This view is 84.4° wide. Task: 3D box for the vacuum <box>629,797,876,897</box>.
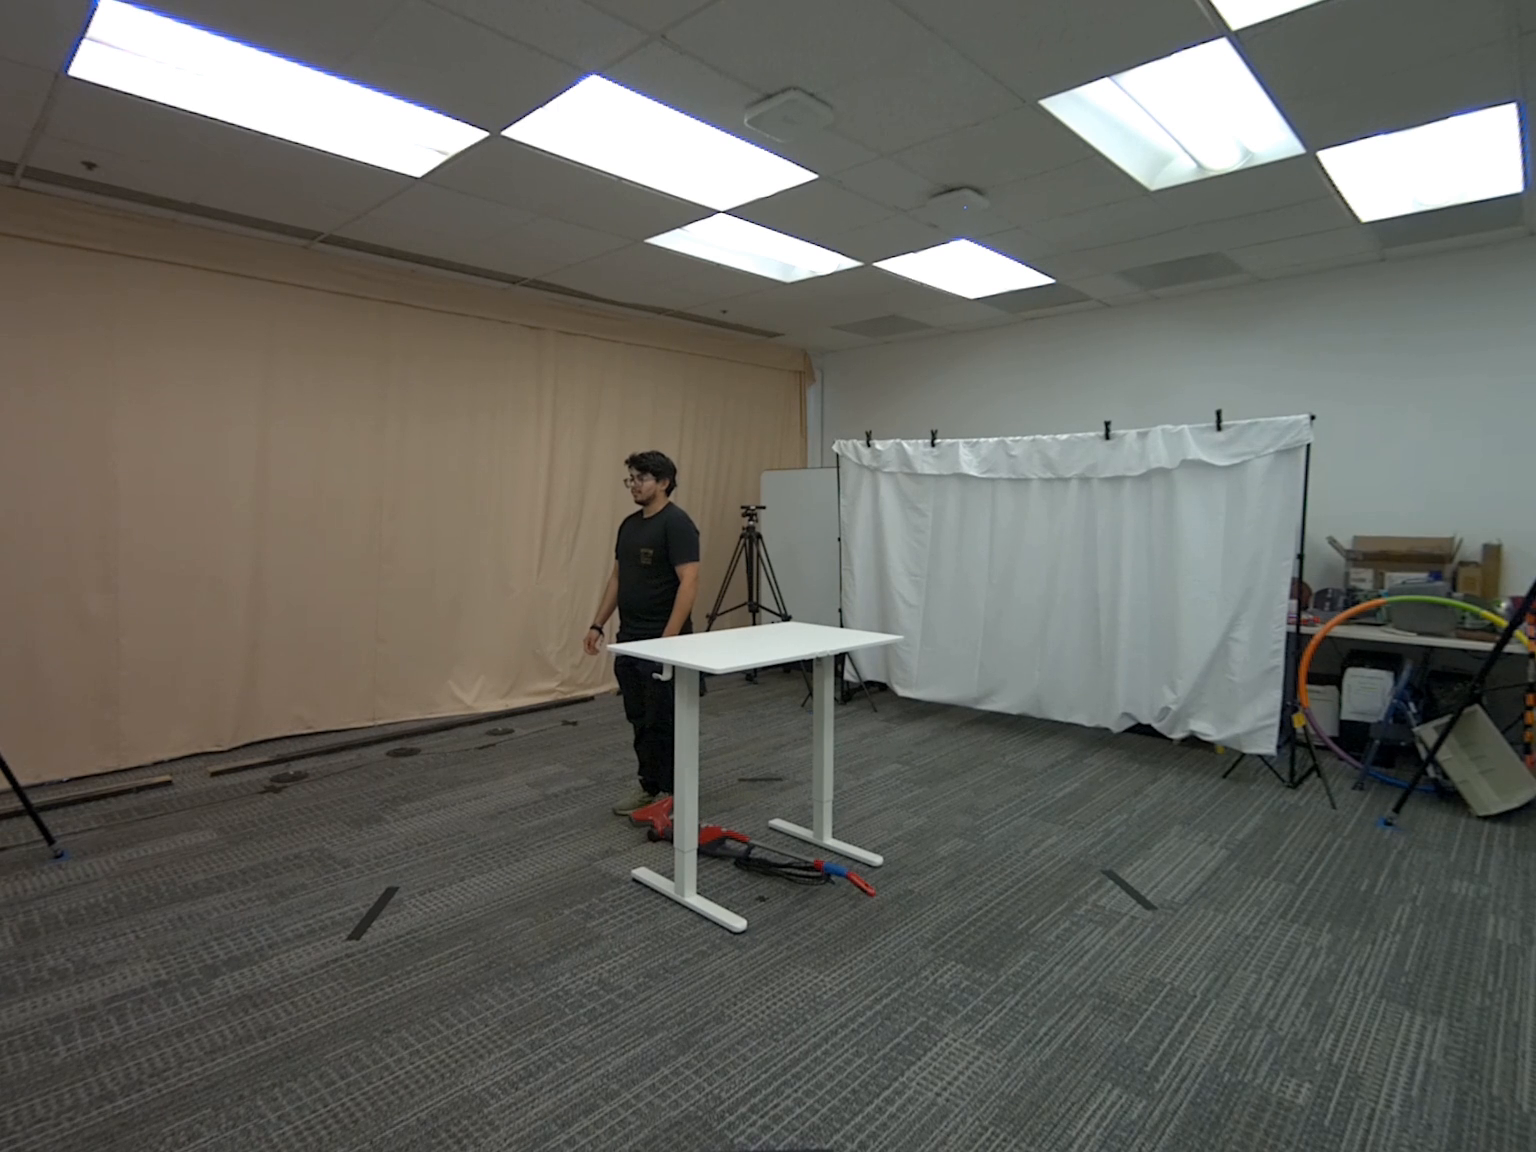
[{"bbox_3d":[-0.063,1.067,3.219,1.084,0.143,0.245,5,8,39],"label":"vacuum"}]
